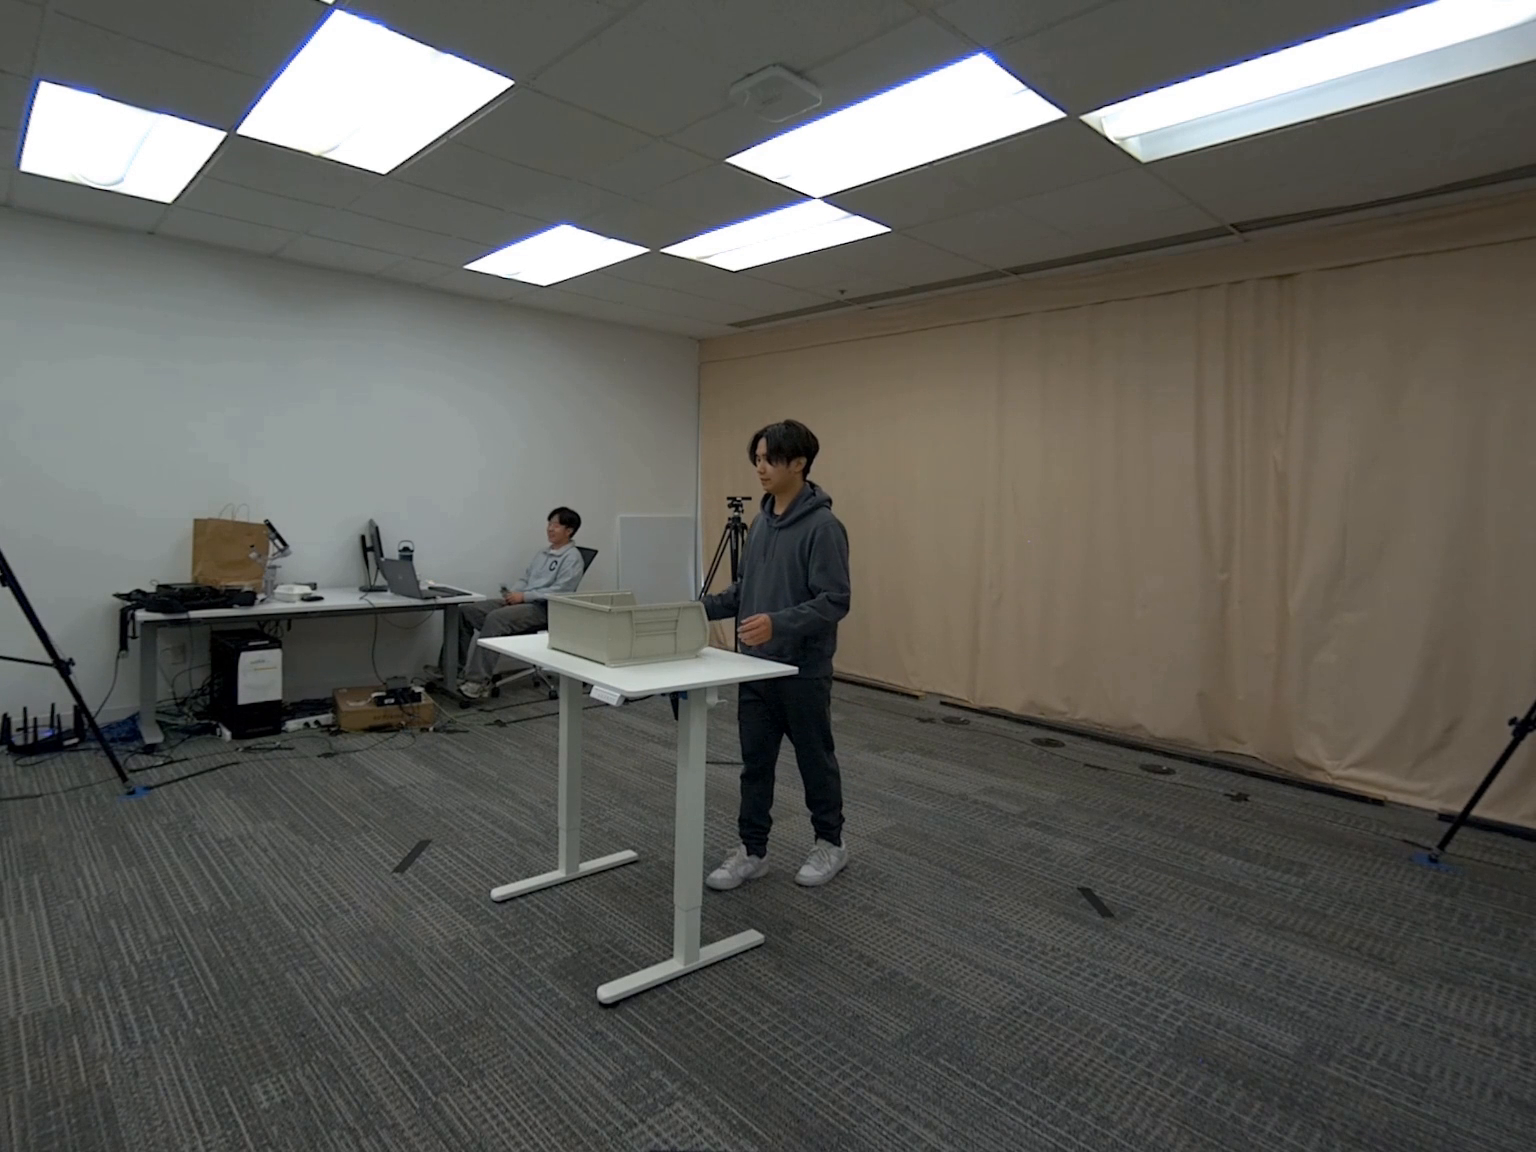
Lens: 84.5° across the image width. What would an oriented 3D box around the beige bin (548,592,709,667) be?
[{"bbox_3d":[-0.464,0.161,2.727,0.369,0.188,0.433,-3,7,-40],"label":"beige bin"}]
